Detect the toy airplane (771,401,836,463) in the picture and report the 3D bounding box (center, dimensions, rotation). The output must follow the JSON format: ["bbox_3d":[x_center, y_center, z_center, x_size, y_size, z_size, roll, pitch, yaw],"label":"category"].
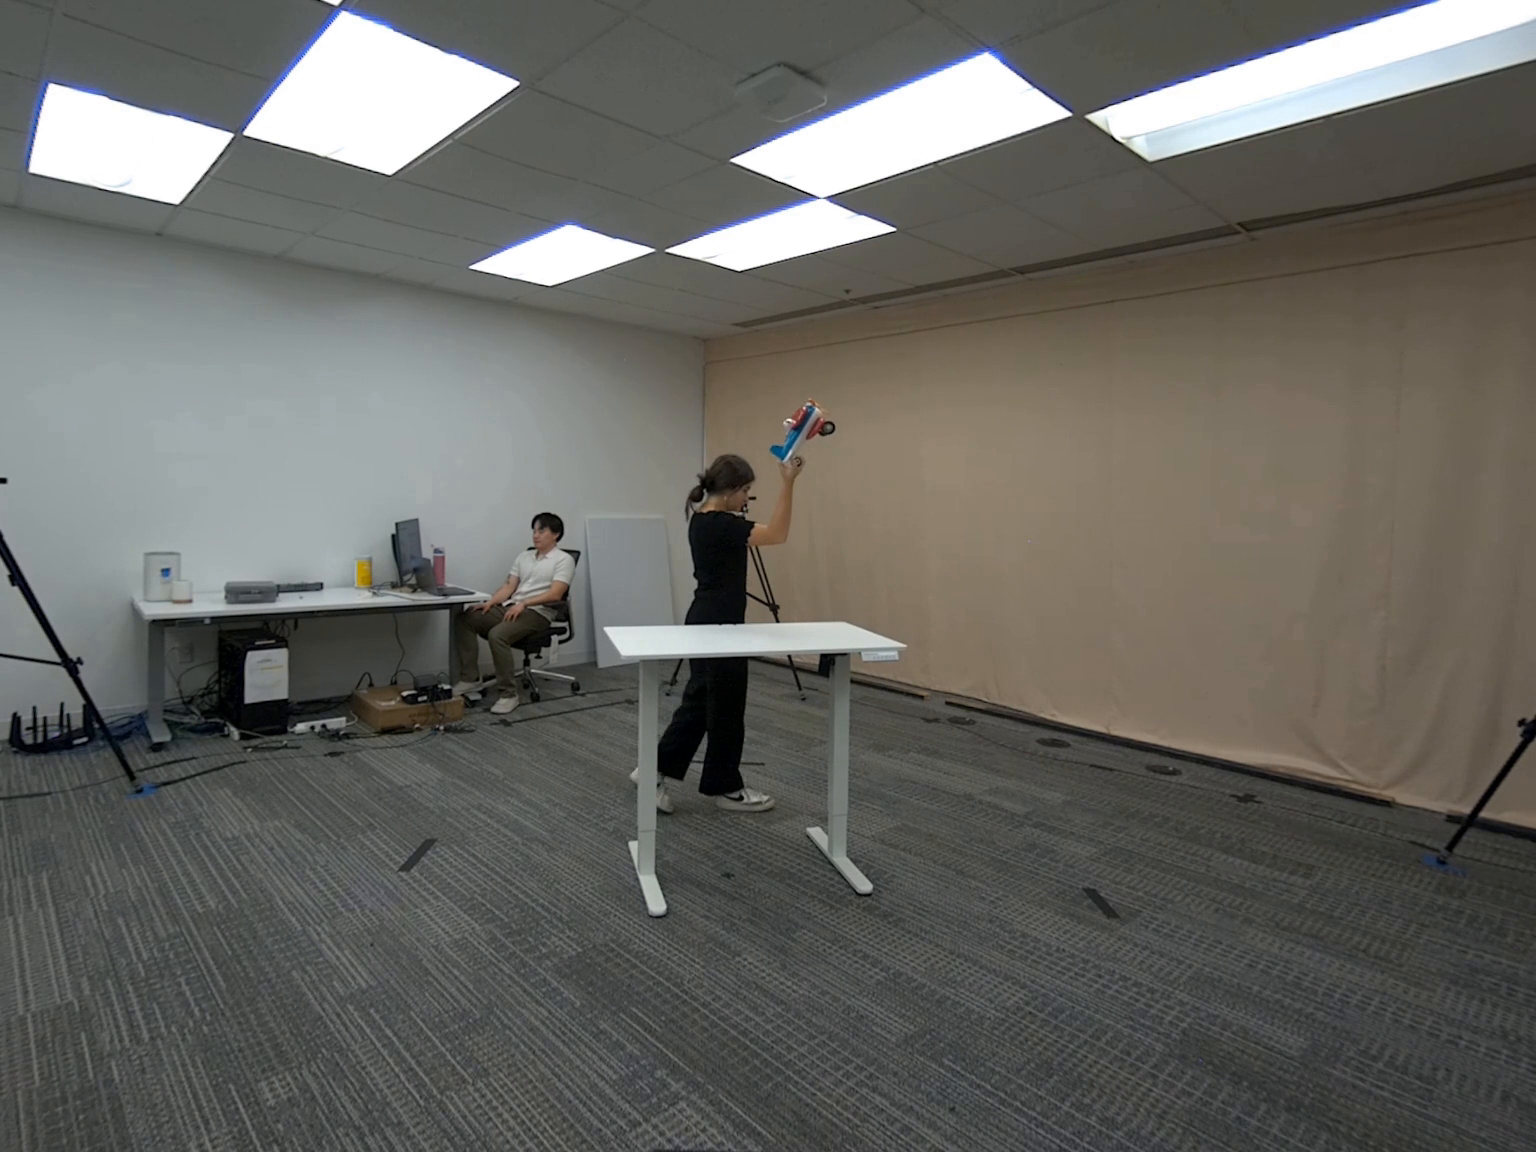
[{"bbox_3d":[0.128,-0.551,3.262,0.259,0.155,0.253,-48,8,-27],"label":"toy airplane"}]
